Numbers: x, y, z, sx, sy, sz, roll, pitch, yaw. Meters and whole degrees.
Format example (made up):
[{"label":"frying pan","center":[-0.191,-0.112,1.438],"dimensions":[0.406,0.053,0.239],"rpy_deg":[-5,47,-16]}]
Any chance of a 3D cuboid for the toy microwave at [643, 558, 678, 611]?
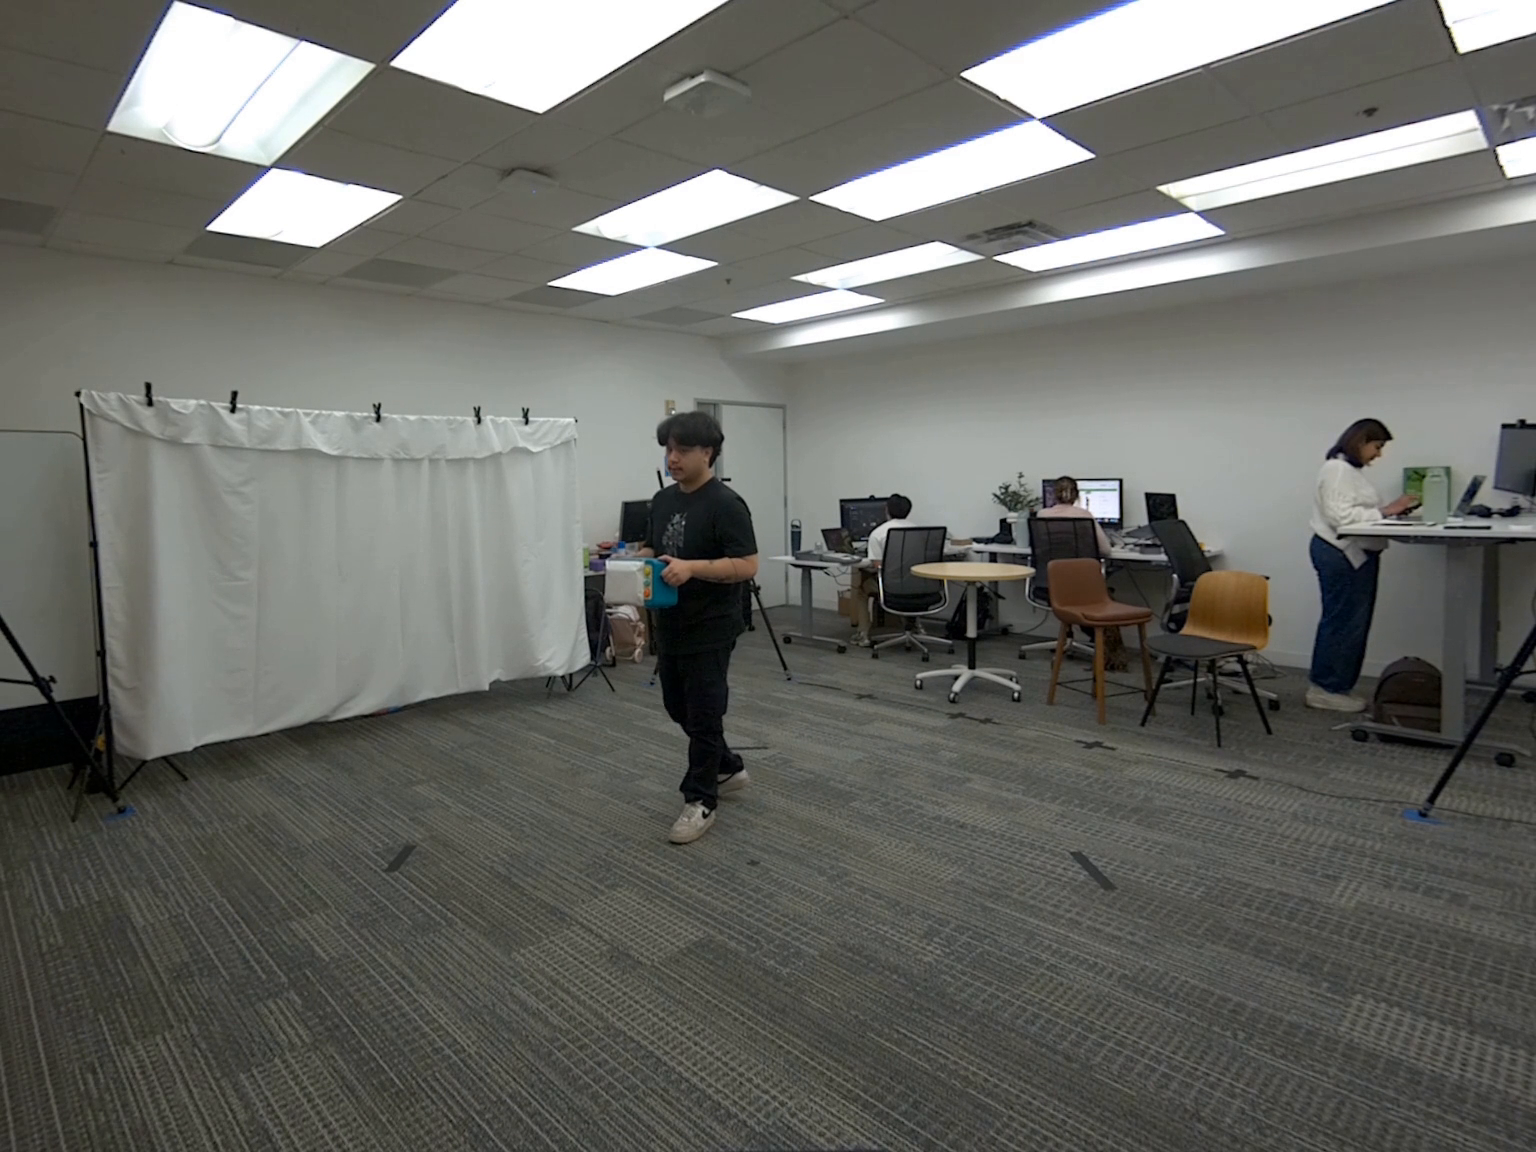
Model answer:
[{"label":"toy microwave","center":[-0.486,0.023,3.232],"dimensions":[0.294,0.184,0.148],"rpy_deg":[1,1,41]}]
